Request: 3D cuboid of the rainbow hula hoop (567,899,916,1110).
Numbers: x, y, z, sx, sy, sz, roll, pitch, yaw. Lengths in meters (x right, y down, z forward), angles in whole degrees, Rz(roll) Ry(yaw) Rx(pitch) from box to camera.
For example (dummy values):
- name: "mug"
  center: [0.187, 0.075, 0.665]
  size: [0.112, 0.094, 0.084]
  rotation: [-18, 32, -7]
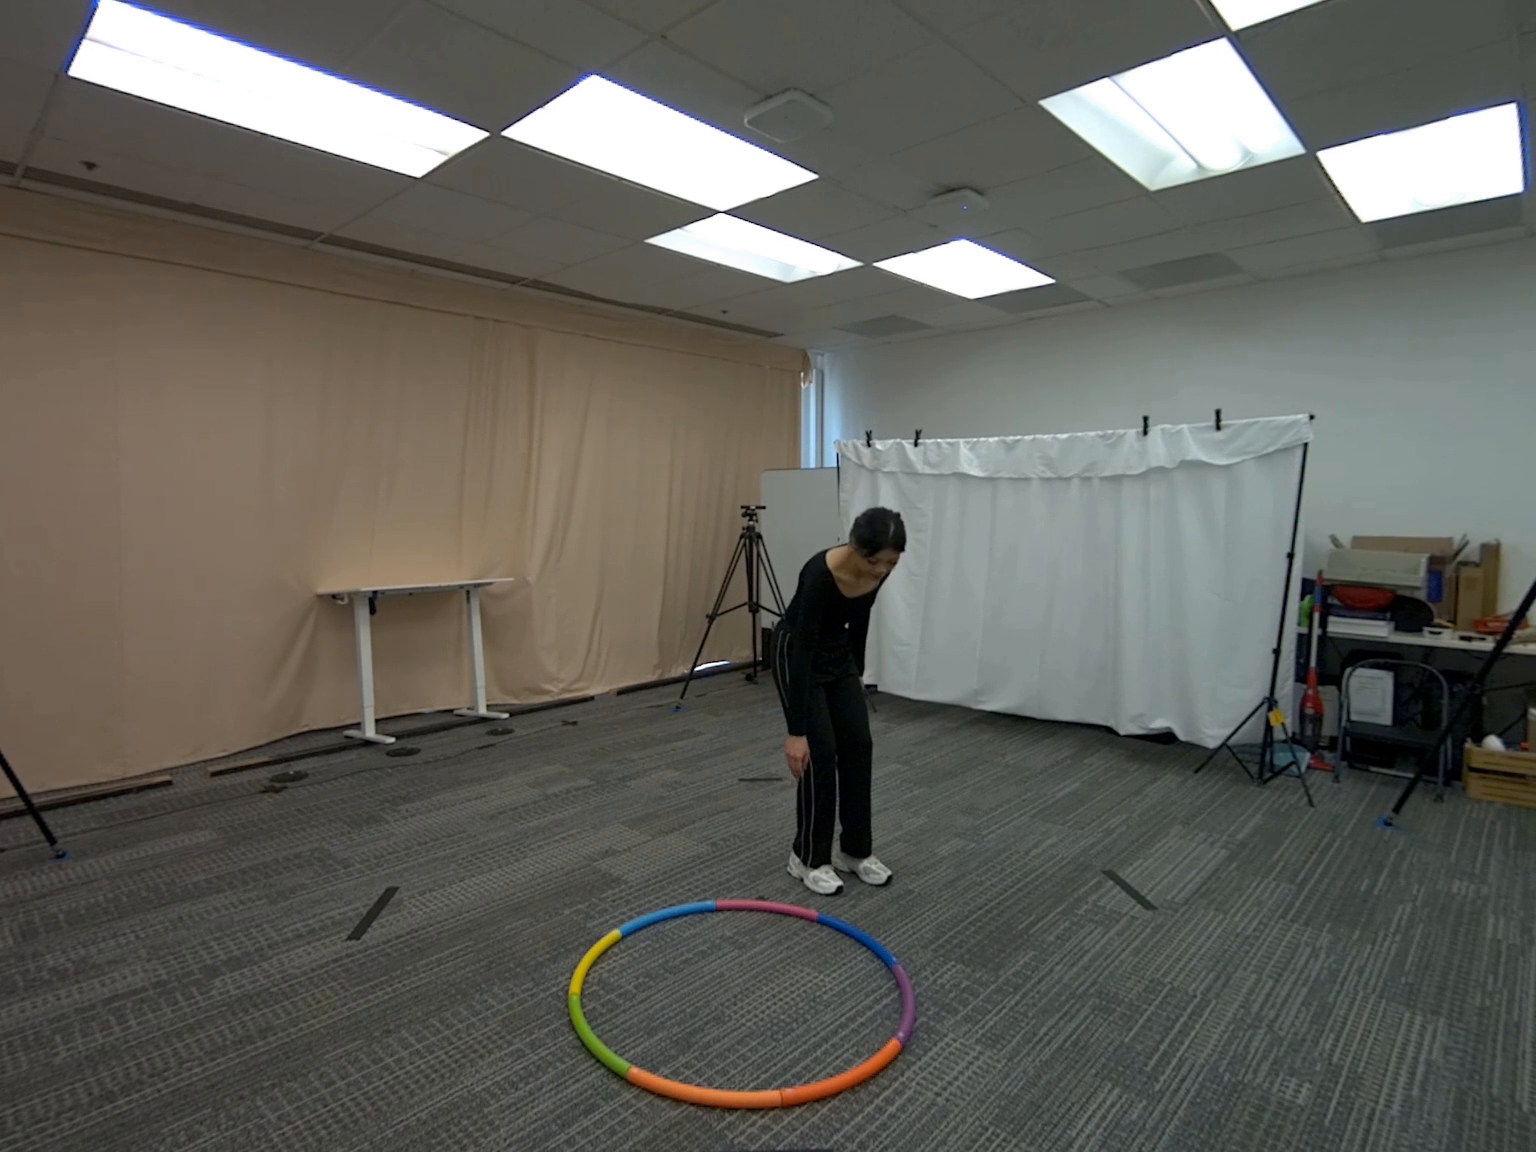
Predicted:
- name: "rainbow hula hoop"
  center: [-0.076, 1.161, 2.432]
  size: [0.978, 0.035, 0.982]
  rotation: [0, 4, -2]
